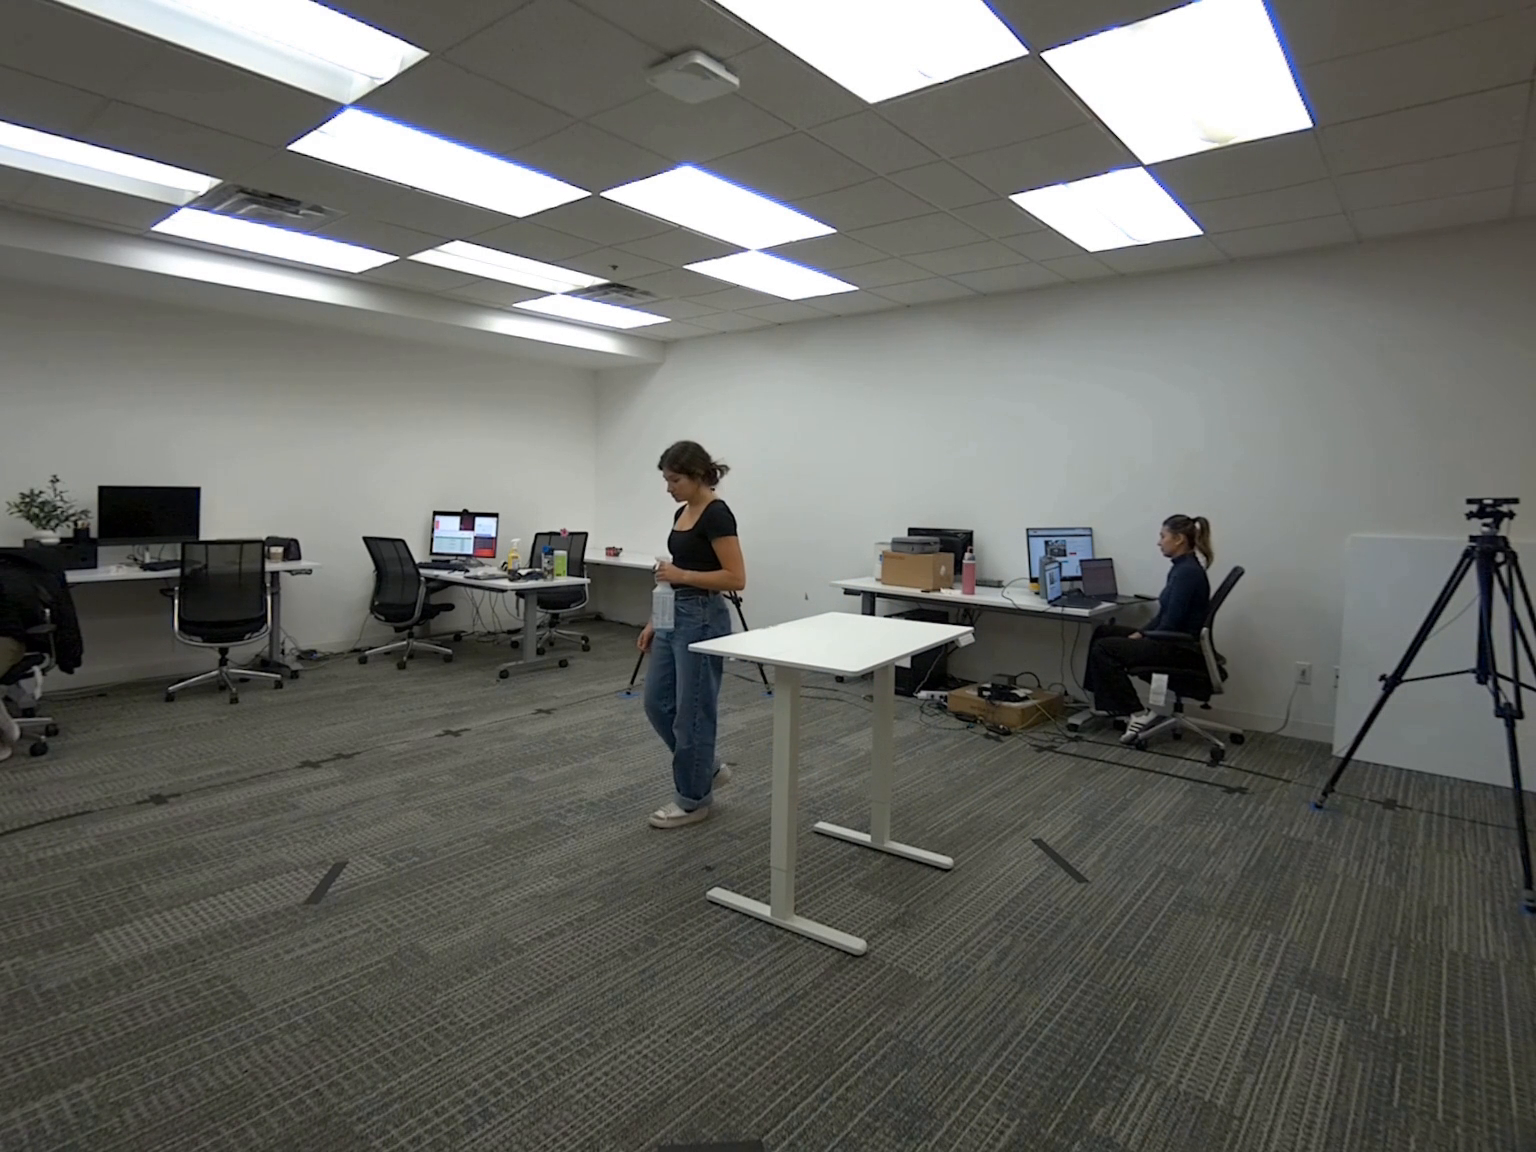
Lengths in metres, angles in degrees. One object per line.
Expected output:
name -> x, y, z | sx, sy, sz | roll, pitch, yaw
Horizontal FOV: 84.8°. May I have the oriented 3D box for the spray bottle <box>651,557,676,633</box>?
spray bottle -> -0.418, 0.068, 3.353 | 0.087, 0.298, 0.089 | -1, -2, -30
